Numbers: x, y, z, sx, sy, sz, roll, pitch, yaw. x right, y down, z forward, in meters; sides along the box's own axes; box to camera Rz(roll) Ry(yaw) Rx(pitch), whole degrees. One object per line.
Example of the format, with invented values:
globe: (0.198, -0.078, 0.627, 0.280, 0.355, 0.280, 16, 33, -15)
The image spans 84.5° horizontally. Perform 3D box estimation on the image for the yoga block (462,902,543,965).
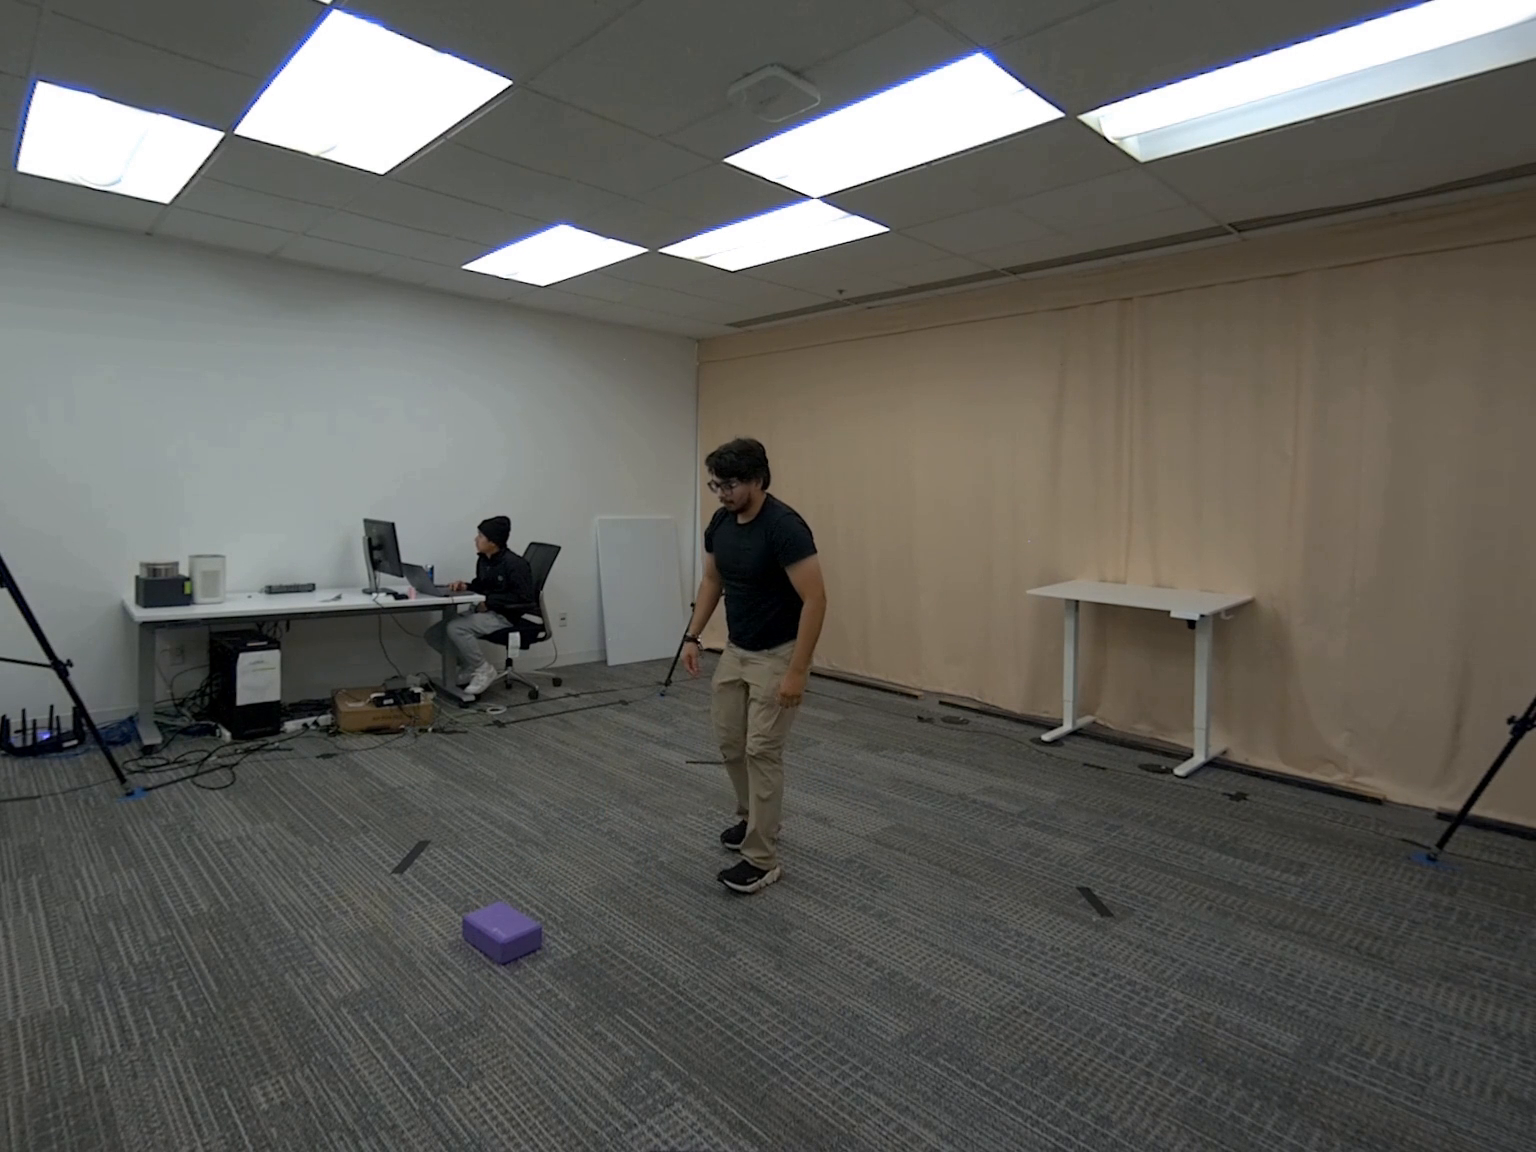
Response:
yoga block: (-0.830, 1.103, 2.596, 0.235, 0.076, 0.146, 6, 7, 41)
